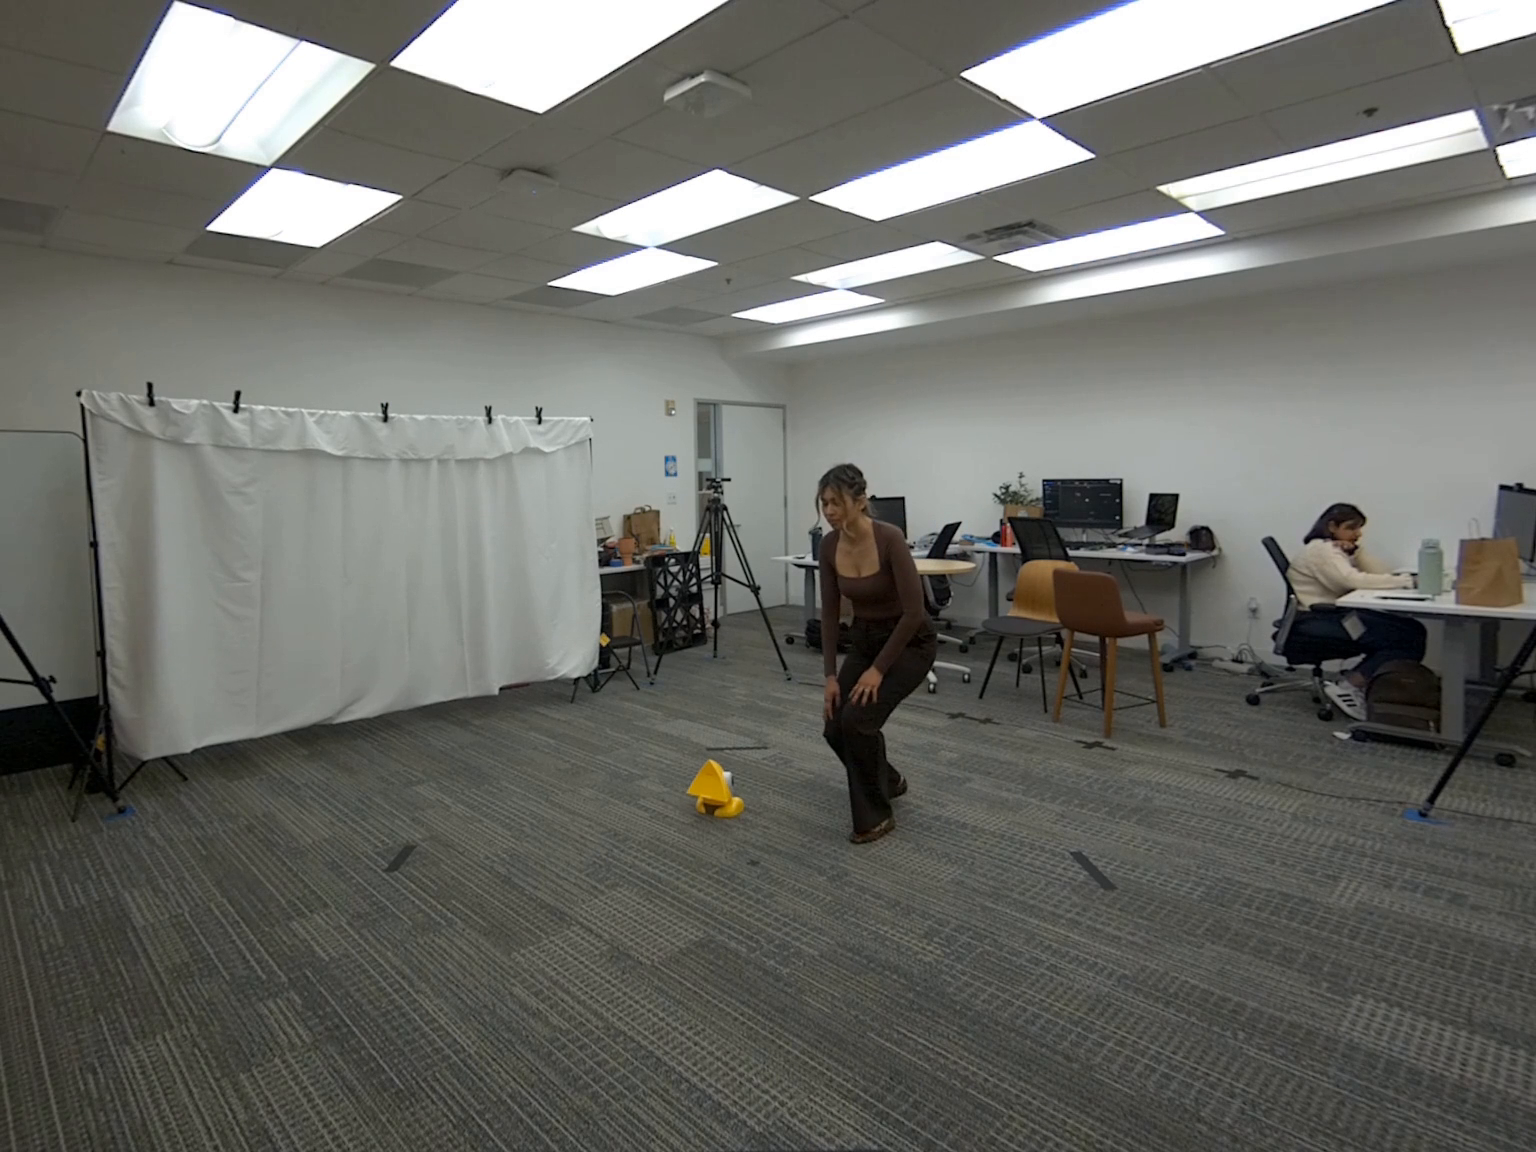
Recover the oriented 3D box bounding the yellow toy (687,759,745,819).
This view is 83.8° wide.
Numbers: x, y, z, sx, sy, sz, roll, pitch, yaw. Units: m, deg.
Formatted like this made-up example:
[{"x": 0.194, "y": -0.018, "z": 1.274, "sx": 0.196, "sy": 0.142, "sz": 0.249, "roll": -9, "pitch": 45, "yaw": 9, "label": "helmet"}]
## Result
[{"x": -0.206, "y": 0.875, "z": 3.614, "sx": 0.210, "sy": 0.230, "sz": 0.188, "roll": 2, "pitch": 6, "yaw": 34, "label": "yellow toy"}]
